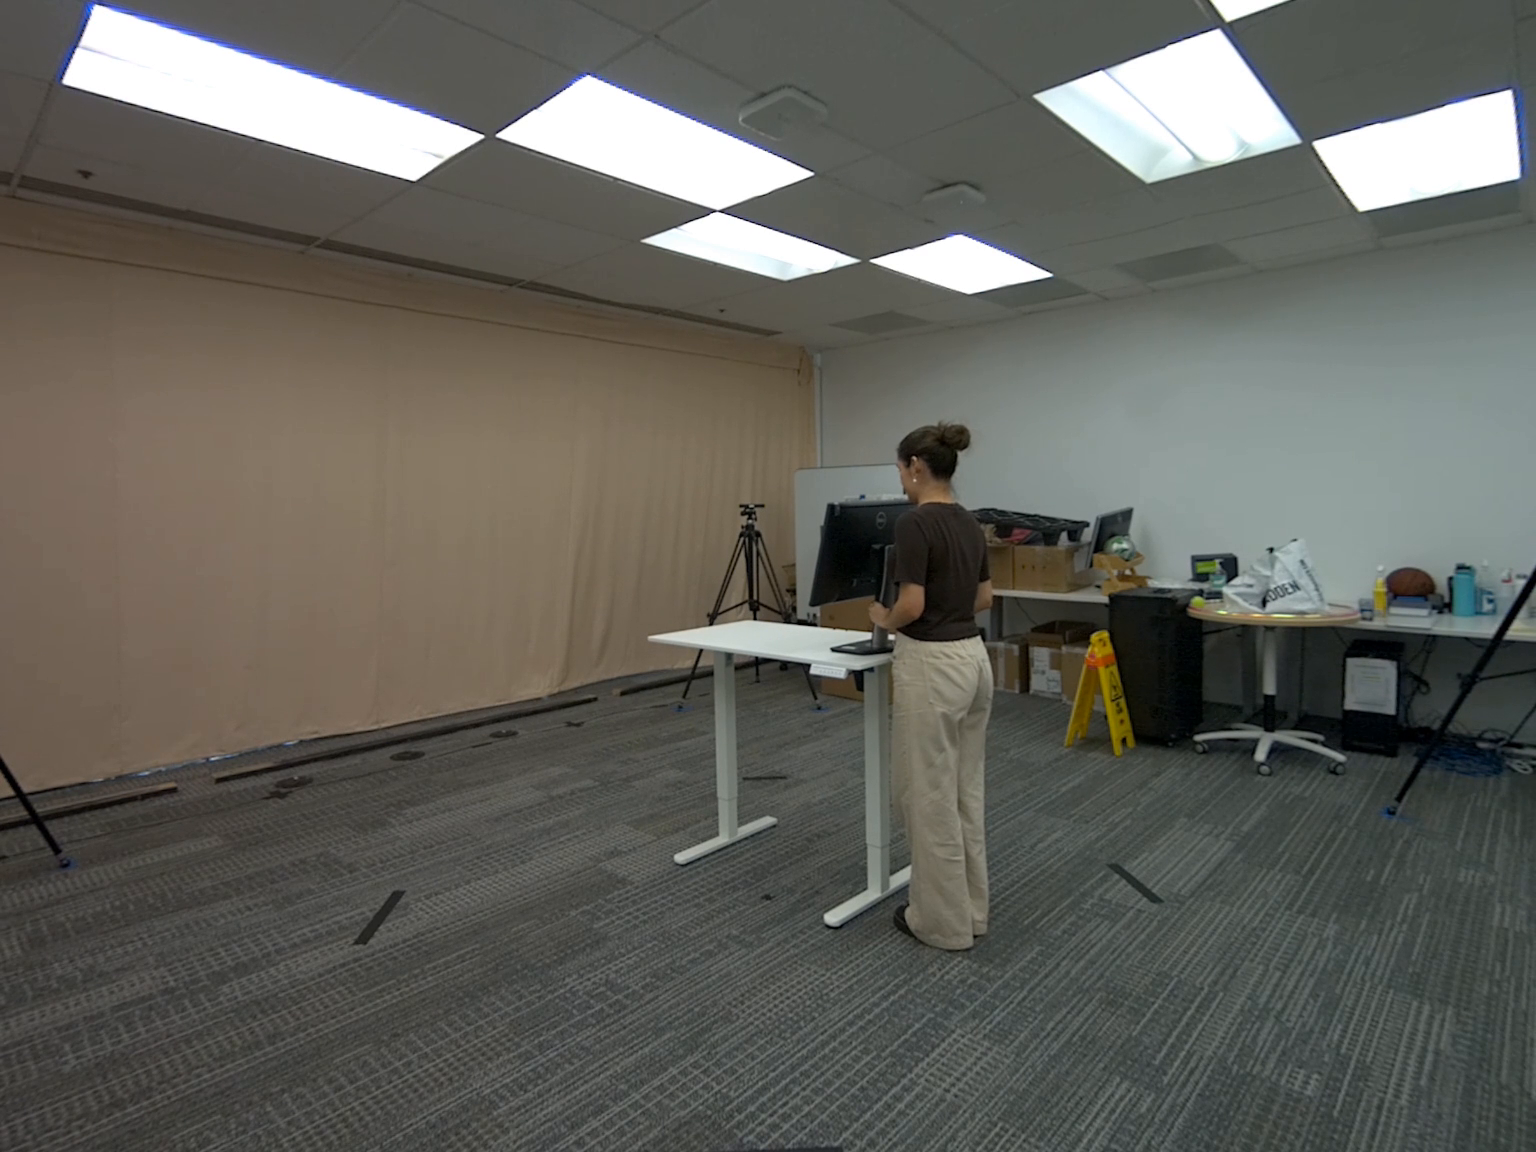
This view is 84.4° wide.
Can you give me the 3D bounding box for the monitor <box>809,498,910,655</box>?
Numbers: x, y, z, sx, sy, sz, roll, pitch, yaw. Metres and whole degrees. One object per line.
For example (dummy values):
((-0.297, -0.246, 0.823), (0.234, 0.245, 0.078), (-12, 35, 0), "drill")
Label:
((0.369, -0.002, 2.909), (0.180, 0.515, 0.514), (-1, 5, 41), "monitor")
